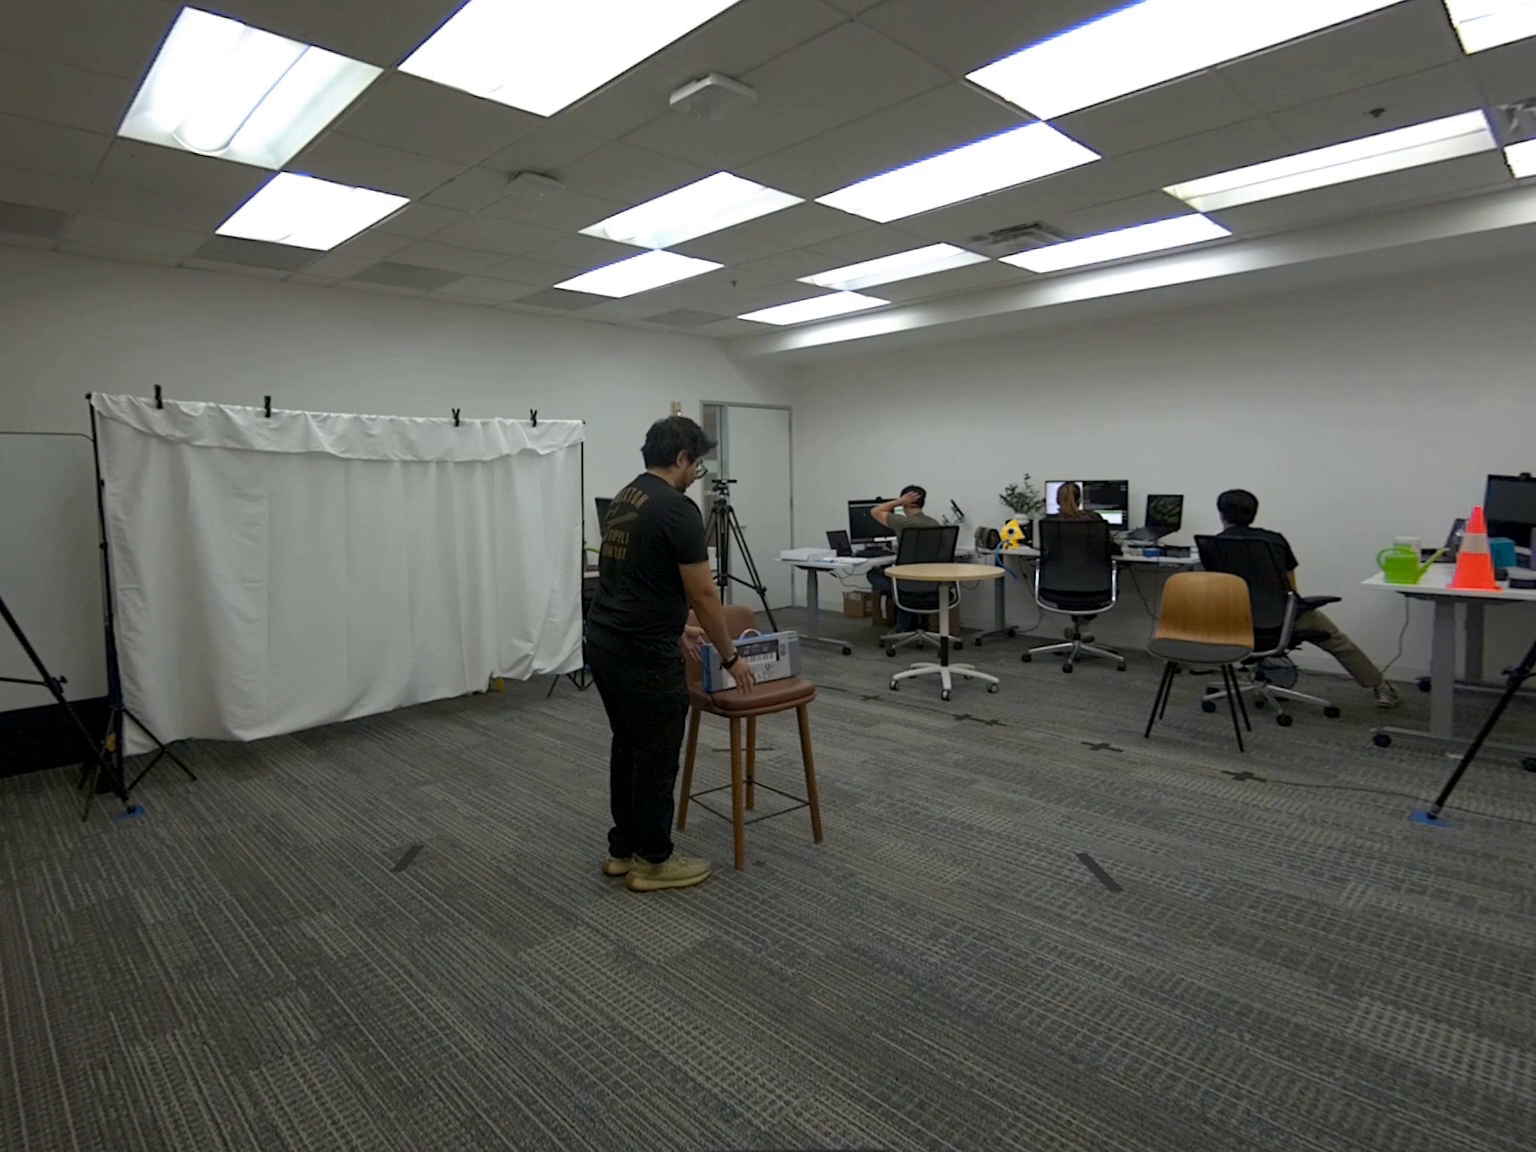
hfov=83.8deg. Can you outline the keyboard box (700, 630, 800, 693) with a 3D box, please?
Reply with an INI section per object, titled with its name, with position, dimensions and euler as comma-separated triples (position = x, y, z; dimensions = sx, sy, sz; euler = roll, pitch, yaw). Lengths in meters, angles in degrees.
[keyboard box]
position = -0.065, 0.324, 3.302
dimensions = 0.426, 0.176, 0.060
euler = -6, 1, -37
